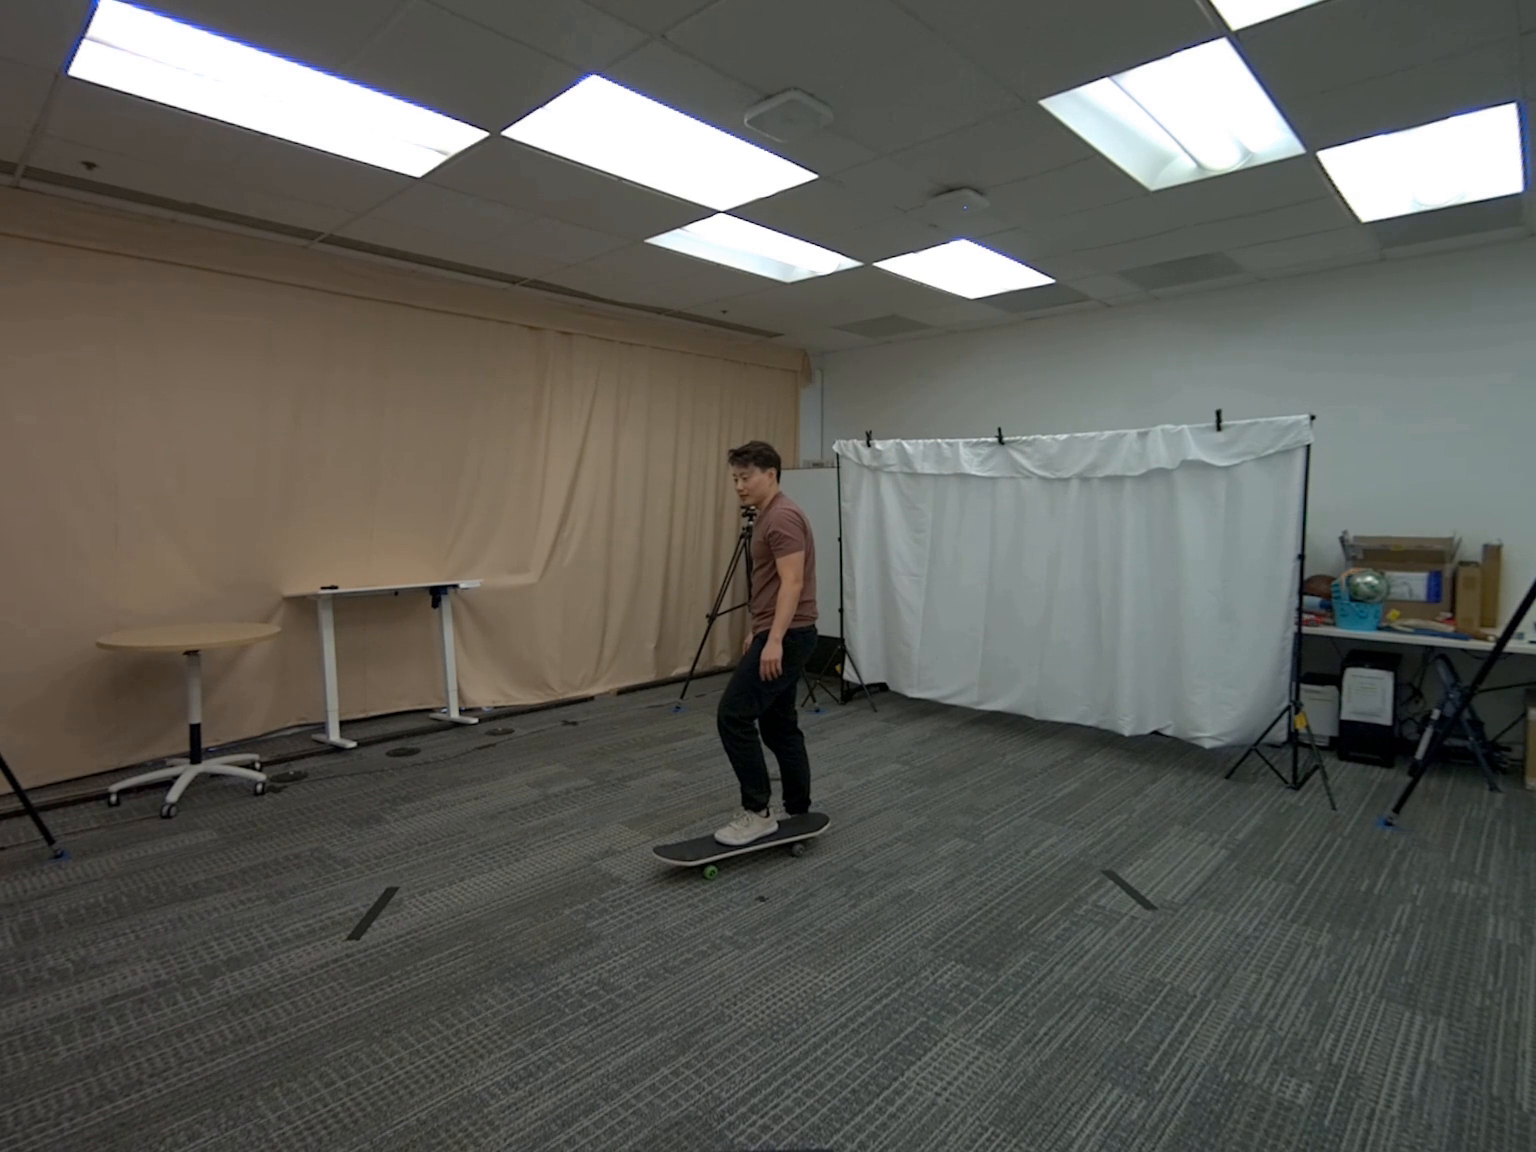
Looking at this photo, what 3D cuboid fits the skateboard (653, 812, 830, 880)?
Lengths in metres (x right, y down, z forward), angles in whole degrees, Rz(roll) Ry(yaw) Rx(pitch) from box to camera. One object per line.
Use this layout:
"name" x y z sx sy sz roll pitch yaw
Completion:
"skateboard" -0.096 1.063 3.304 0.765 0.110 0.199 -3 4 -29
